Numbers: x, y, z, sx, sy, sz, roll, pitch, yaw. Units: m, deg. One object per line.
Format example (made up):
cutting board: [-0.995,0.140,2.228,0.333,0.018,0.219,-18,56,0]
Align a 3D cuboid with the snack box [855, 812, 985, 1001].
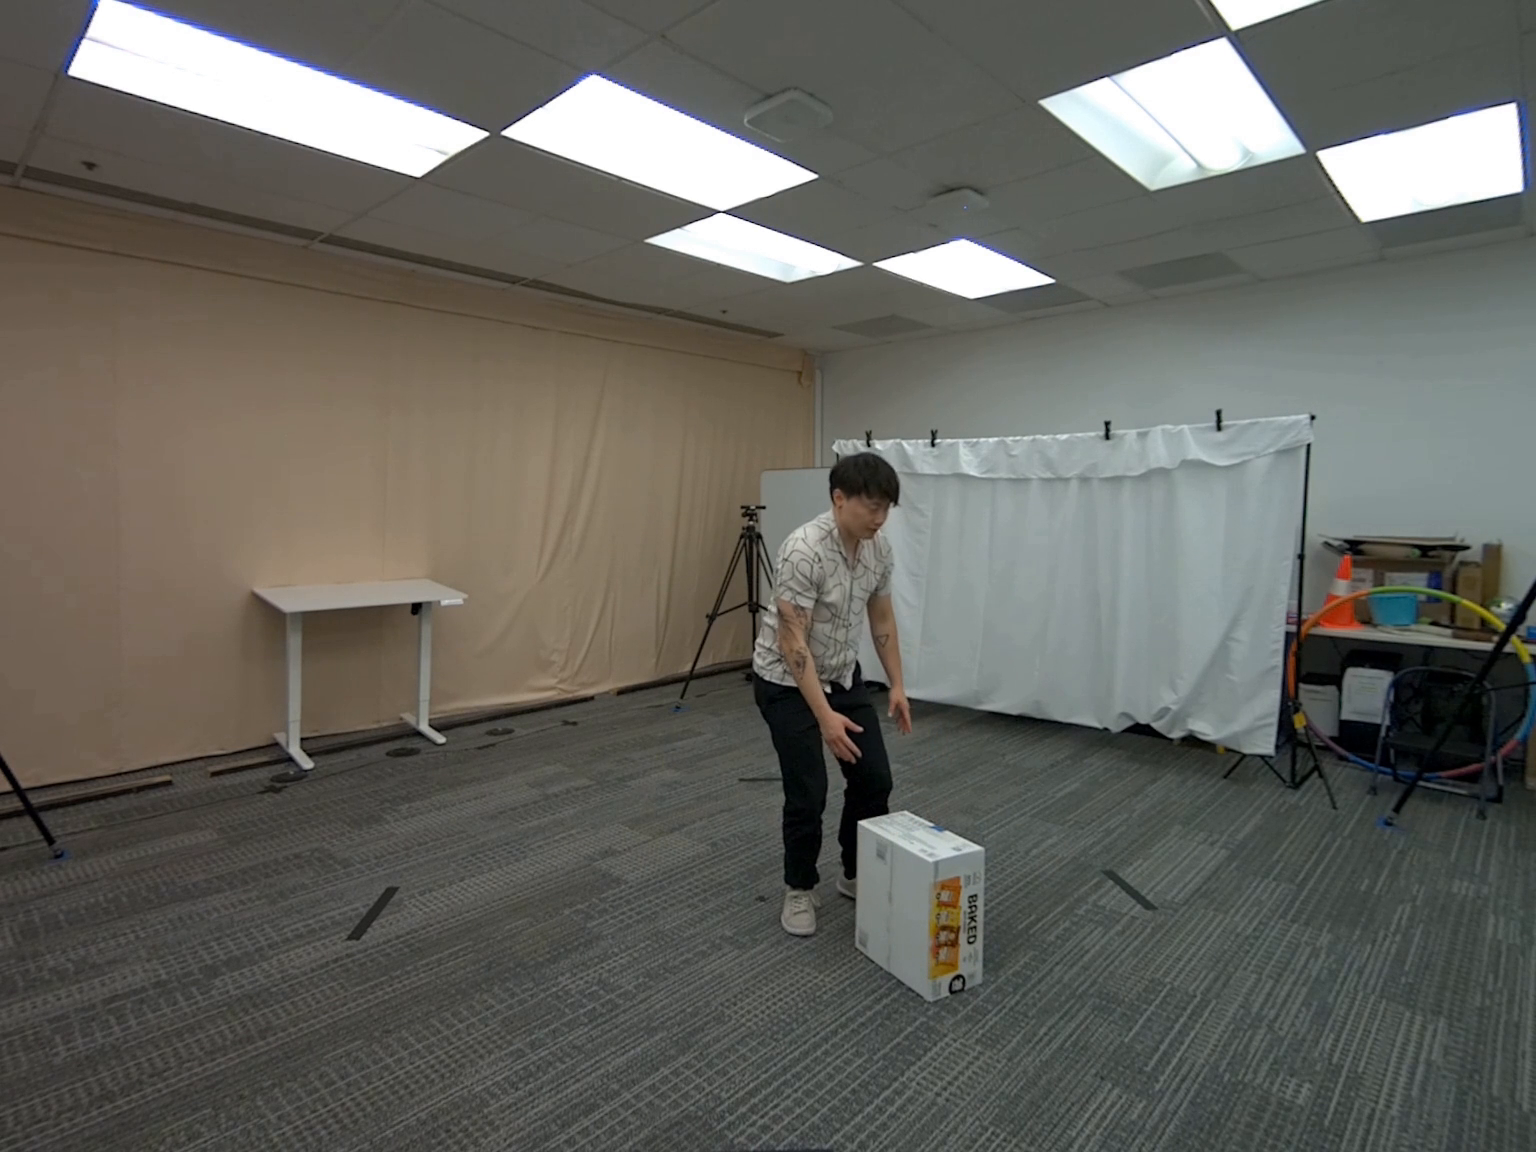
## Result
snack box: [0.459,0.980,2.532,0.200,0.404,0.350,-2,4,-31]
